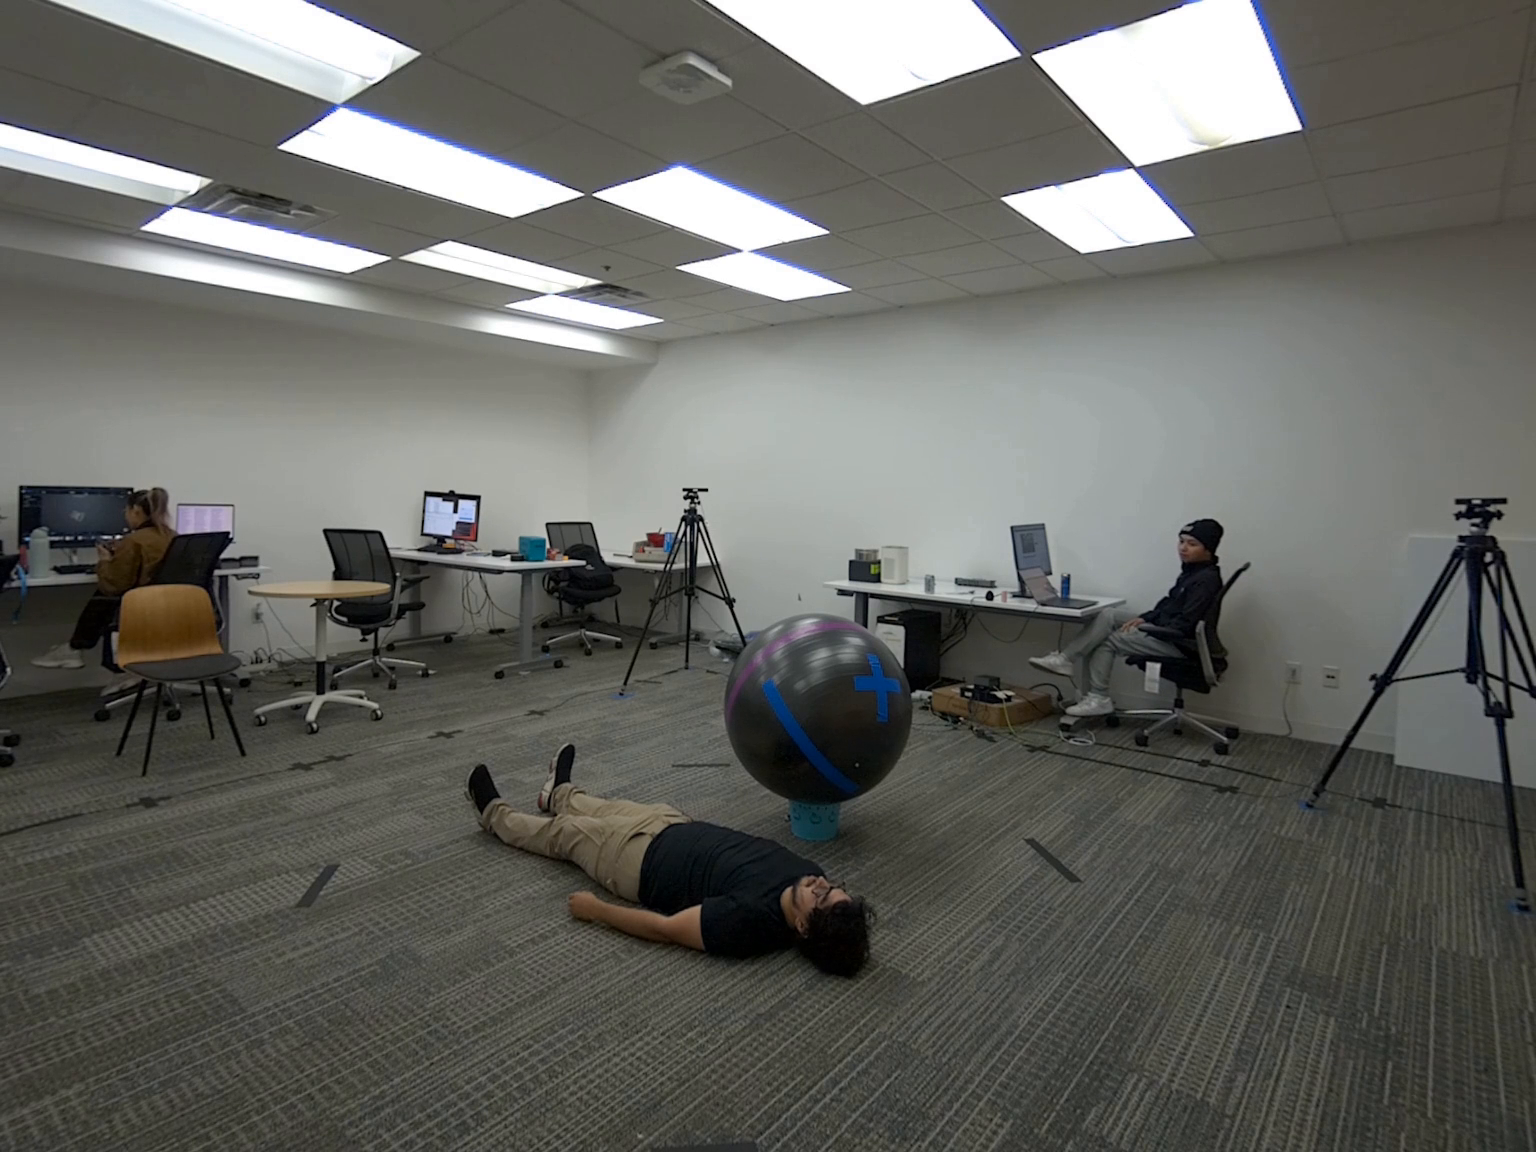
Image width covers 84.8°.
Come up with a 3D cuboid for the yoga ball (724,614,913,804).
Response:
[{"bbox_3d":[0.190,0.532,3.460,0.757,0.756,0.761,0,4,-2],"label":"yoga ball"}]
